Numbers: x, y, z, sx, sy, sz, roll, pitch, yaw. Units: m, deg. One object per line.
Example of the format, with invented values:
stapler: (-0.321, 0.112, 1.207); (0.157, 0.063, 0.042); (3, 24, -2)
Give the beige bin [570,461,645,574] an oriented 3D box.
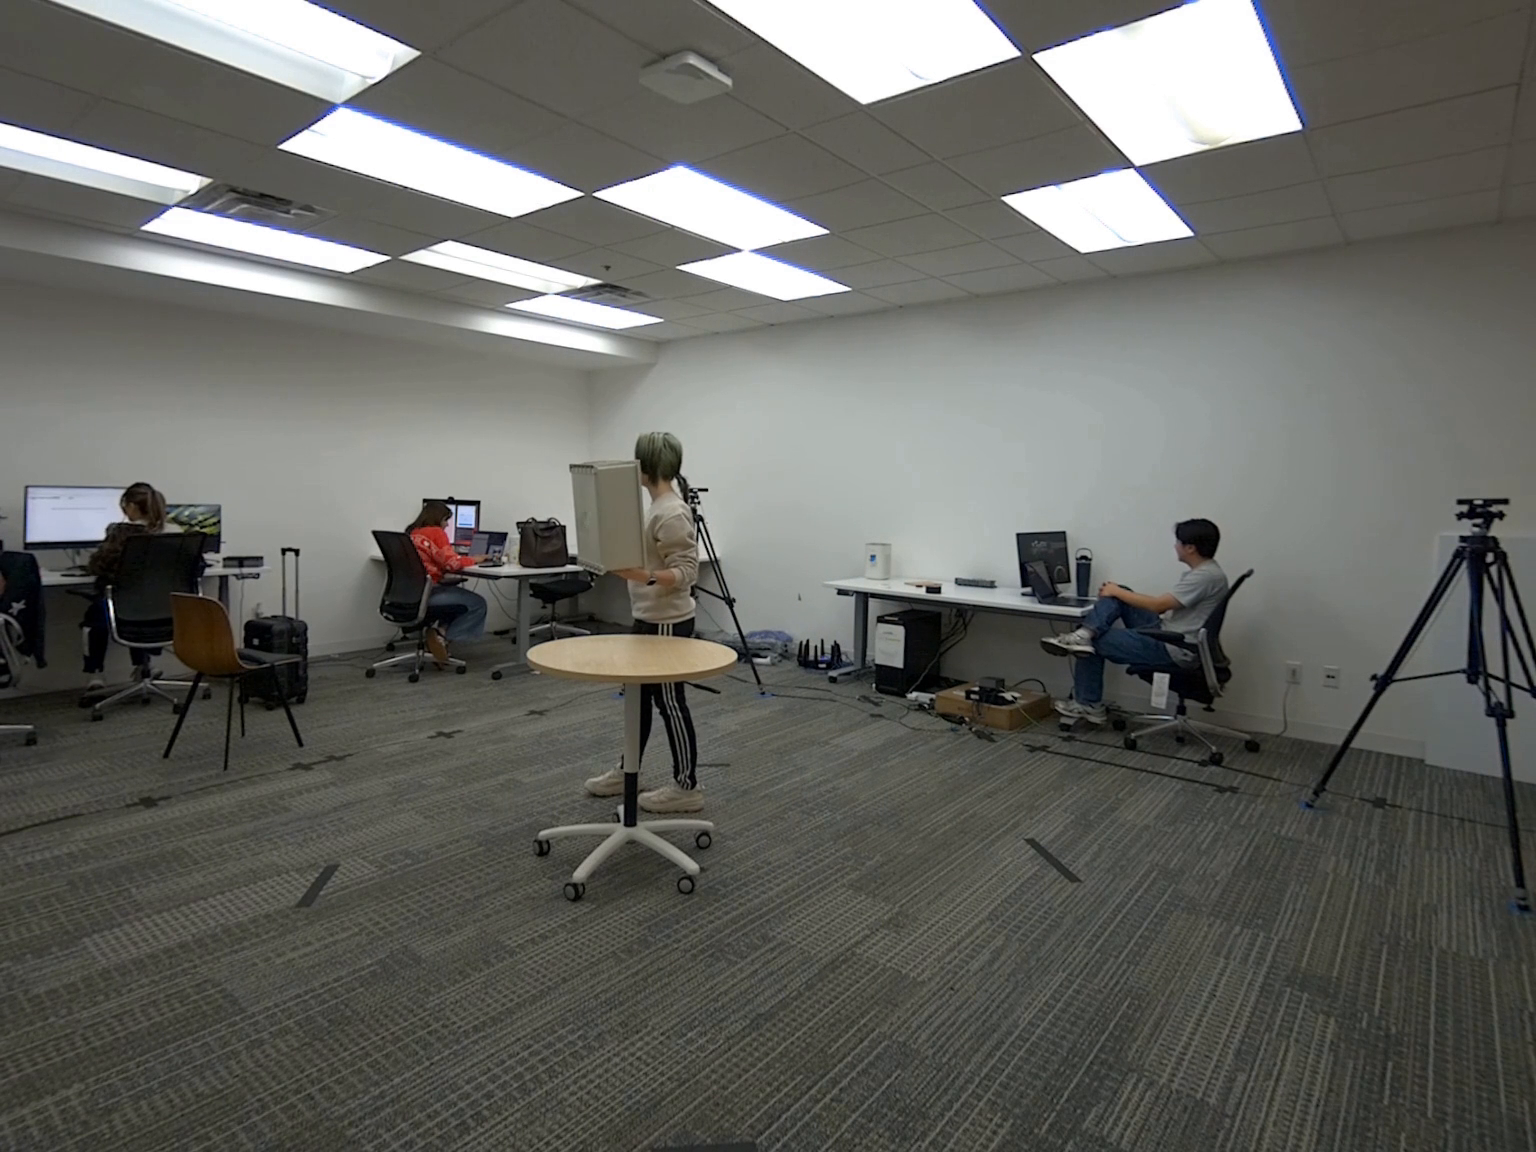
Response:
beige bin: (-0.652, -0.245, 3.343); (0.184, 0.420, 0.389); (-4, 8, -28)
